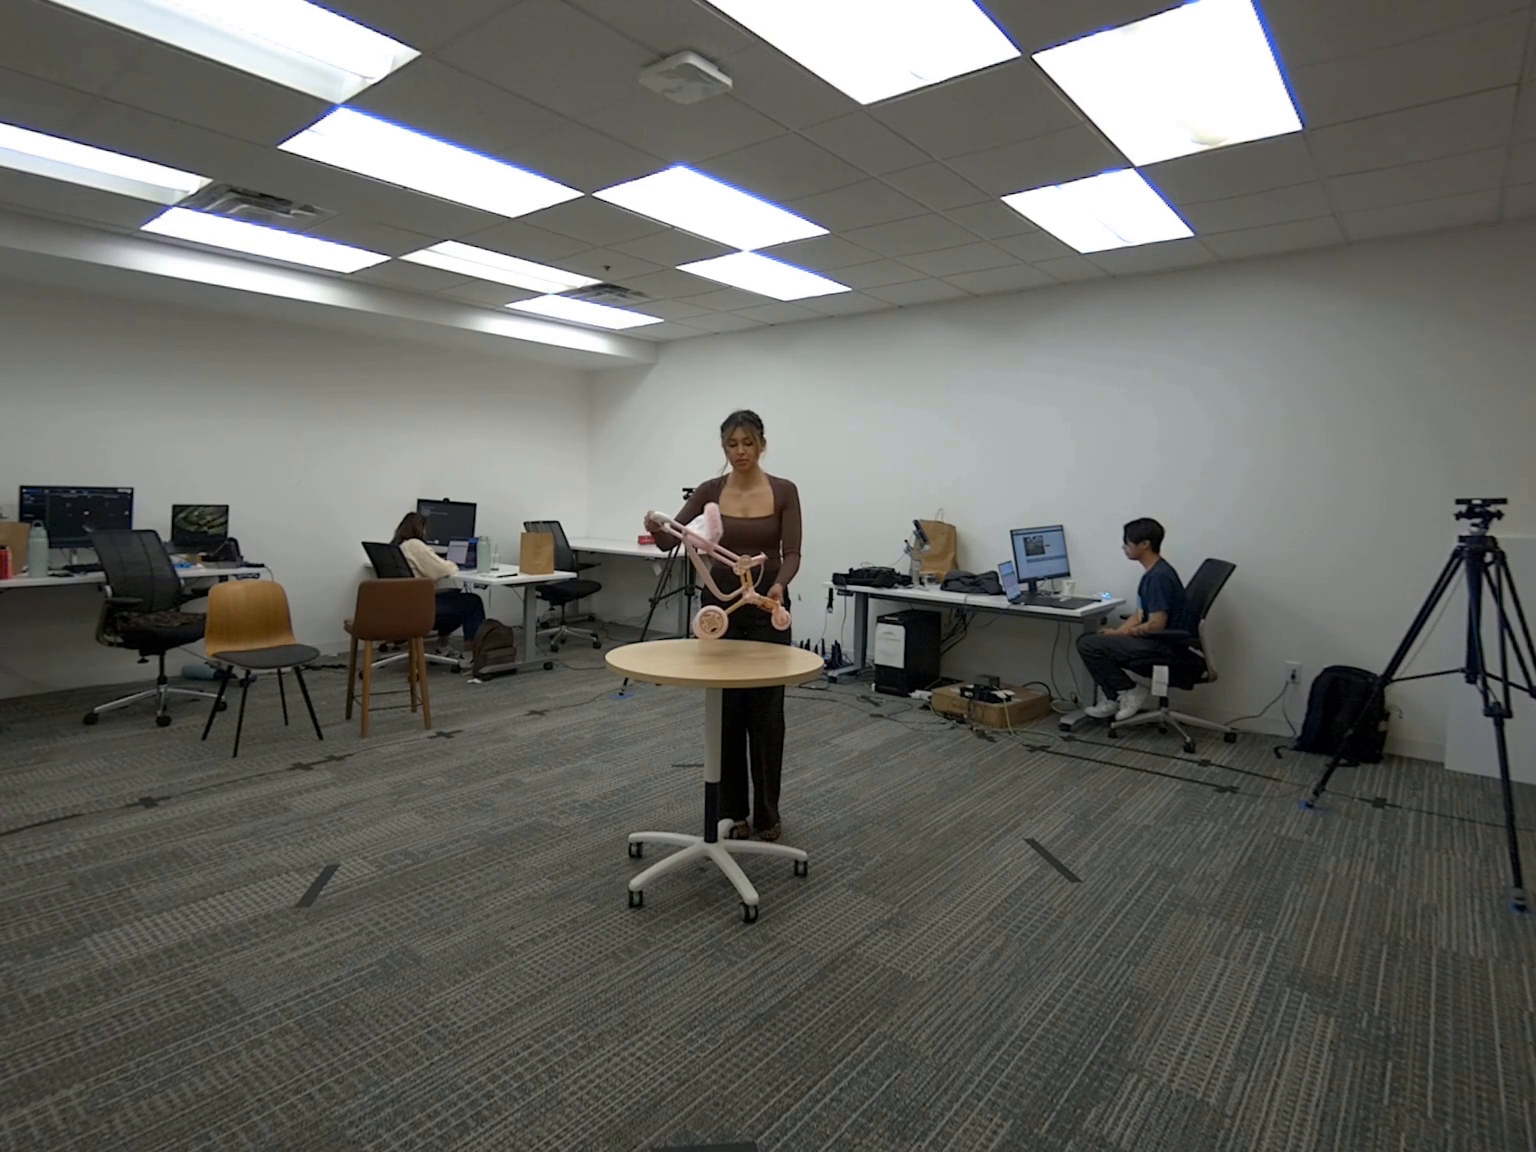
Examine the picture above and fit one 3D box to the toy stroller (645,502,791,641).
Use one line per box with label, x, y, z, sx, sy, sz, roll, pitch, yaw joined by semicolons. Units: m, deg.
toy stroller;-0.160;-0.017;2.996;0.341;0.539;0.280;-21;-5;-3
